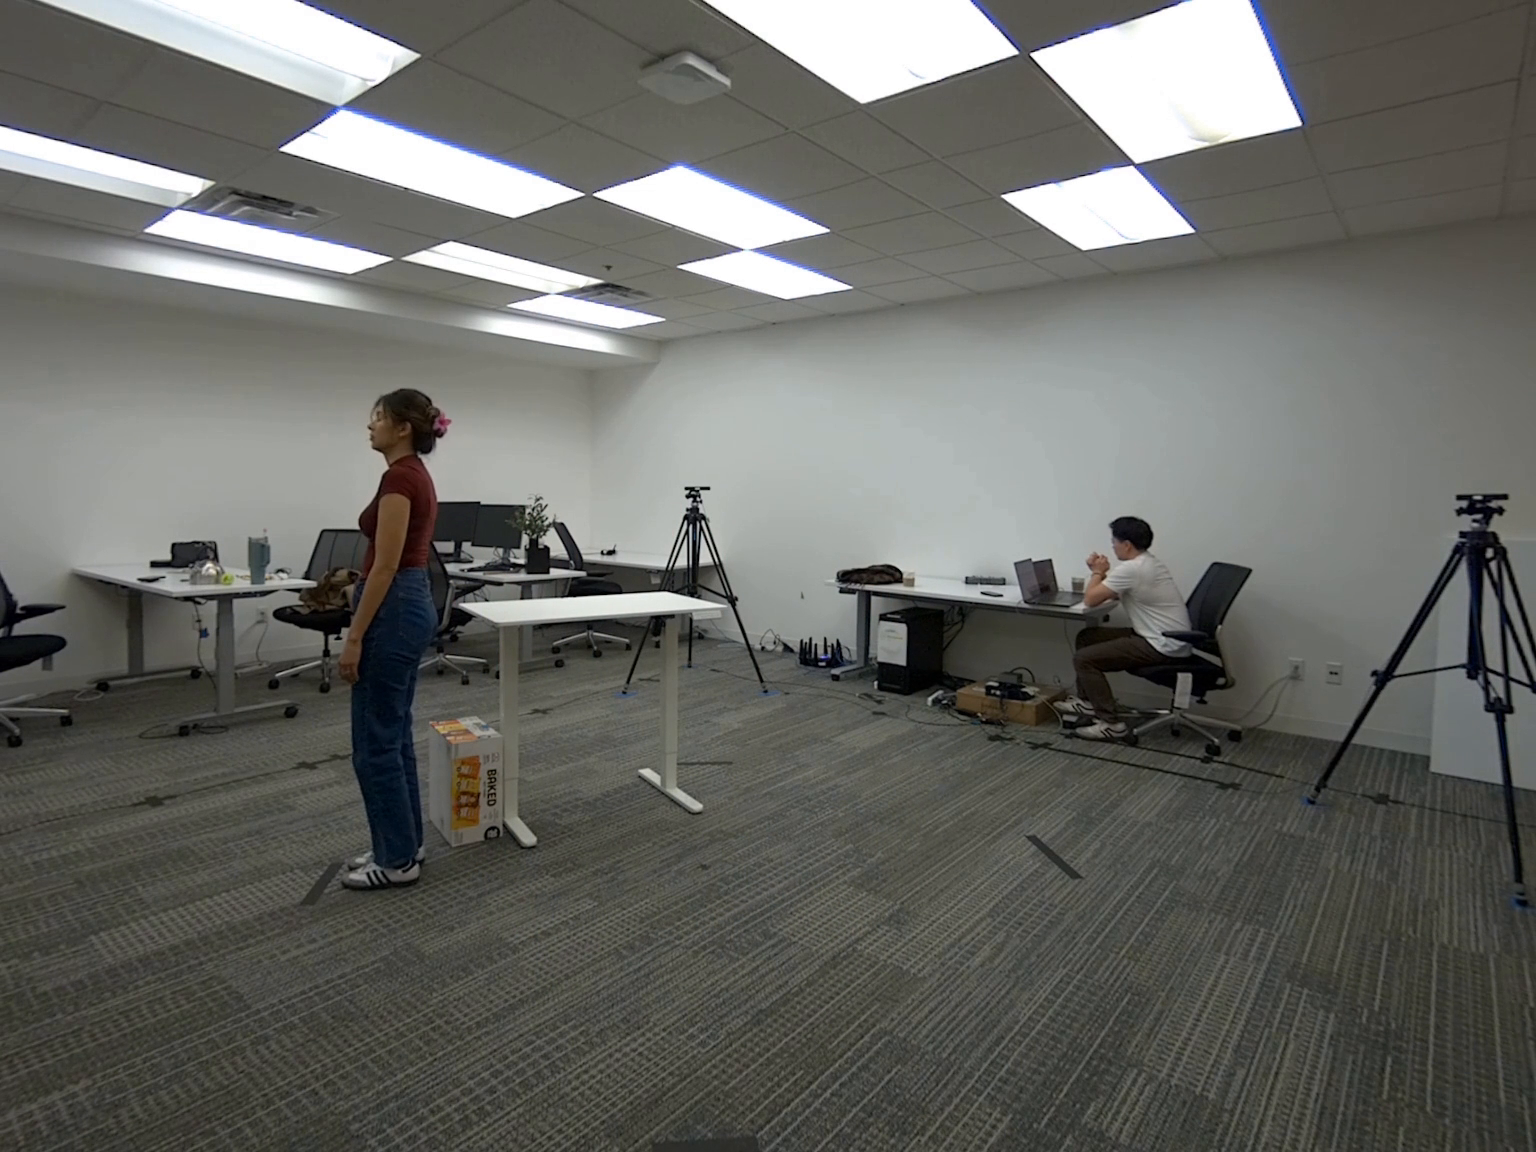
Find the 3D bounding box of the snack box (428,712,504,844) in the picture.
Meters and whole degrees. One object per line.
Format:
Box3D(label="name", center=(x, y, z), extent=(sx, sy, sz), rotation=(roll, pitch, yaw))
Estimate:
Box3D(label="snack box", center=(-1.239, 0.809, 3.434), extent=(0.200, 0.404, 0.351), rotation=(-1, 5, -35))
